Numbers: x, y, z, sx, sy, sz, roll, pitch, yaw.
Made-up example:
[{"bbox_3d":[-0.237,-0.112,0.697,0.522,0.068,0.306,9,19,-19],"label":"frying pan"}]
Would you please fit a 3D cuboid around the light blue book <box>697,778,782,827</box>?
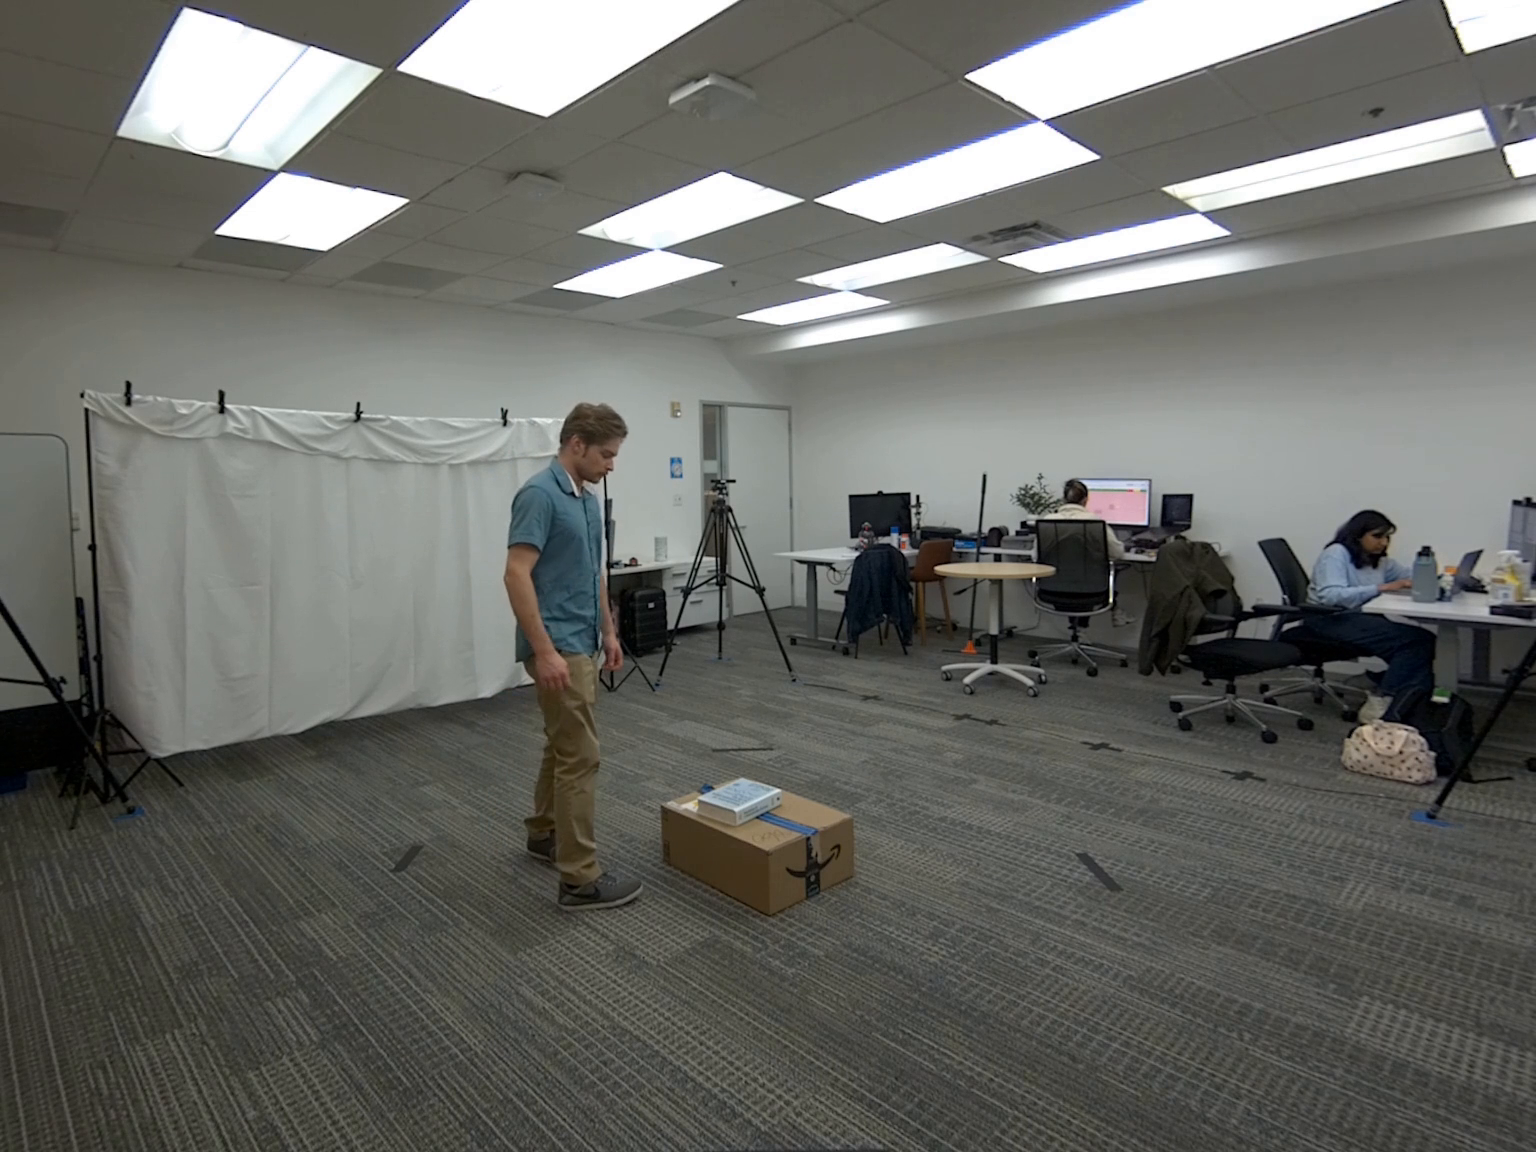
[{"bbox_3d":[-0.094,0.810,3.080,0.197,0.059,0.254,4,8,39],"label":"light blue book"}]
